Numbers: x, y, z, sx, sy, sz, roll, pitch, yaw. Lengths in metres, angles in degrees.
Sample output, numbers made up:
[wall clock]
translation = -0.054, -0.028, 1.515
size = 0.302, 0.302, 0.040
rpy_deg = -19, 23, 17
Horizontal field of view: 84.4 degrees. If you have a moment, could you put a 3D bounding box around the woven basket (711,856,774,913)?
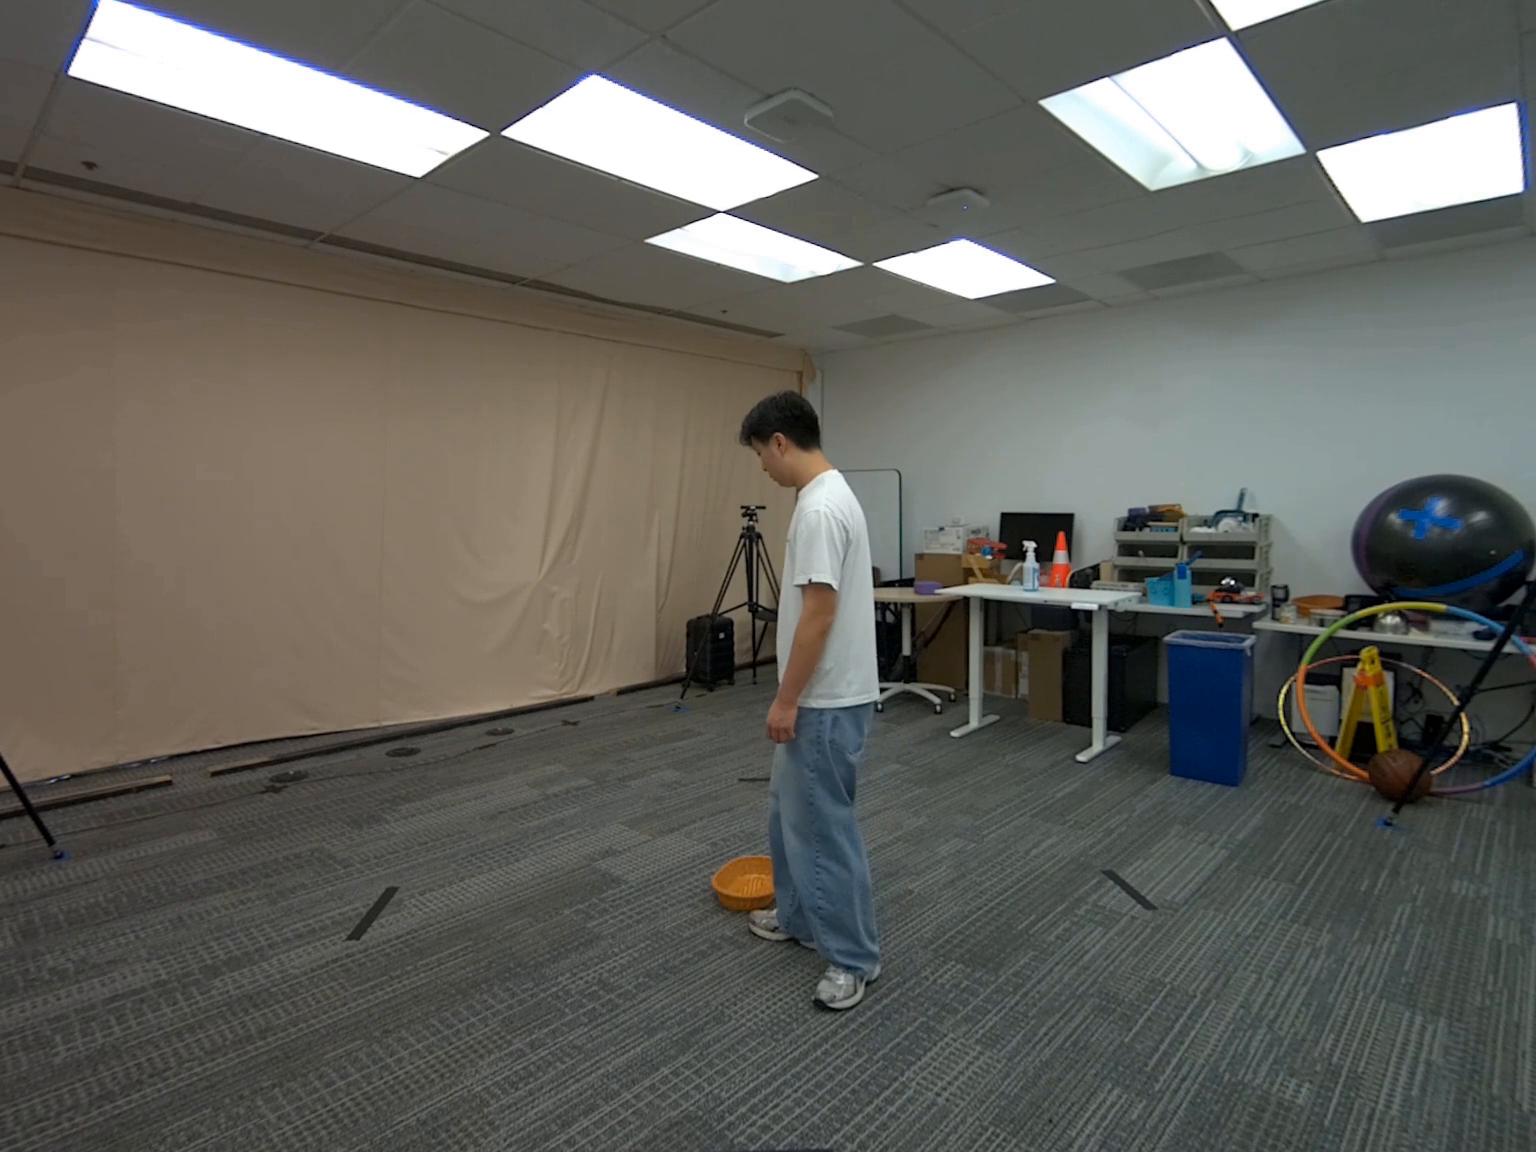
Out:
[woven basket]
translation = -0.054, 1.100, 3.019
size = 0.259, 0.073, 0.342
rpy_deg = 3, 5, 25
